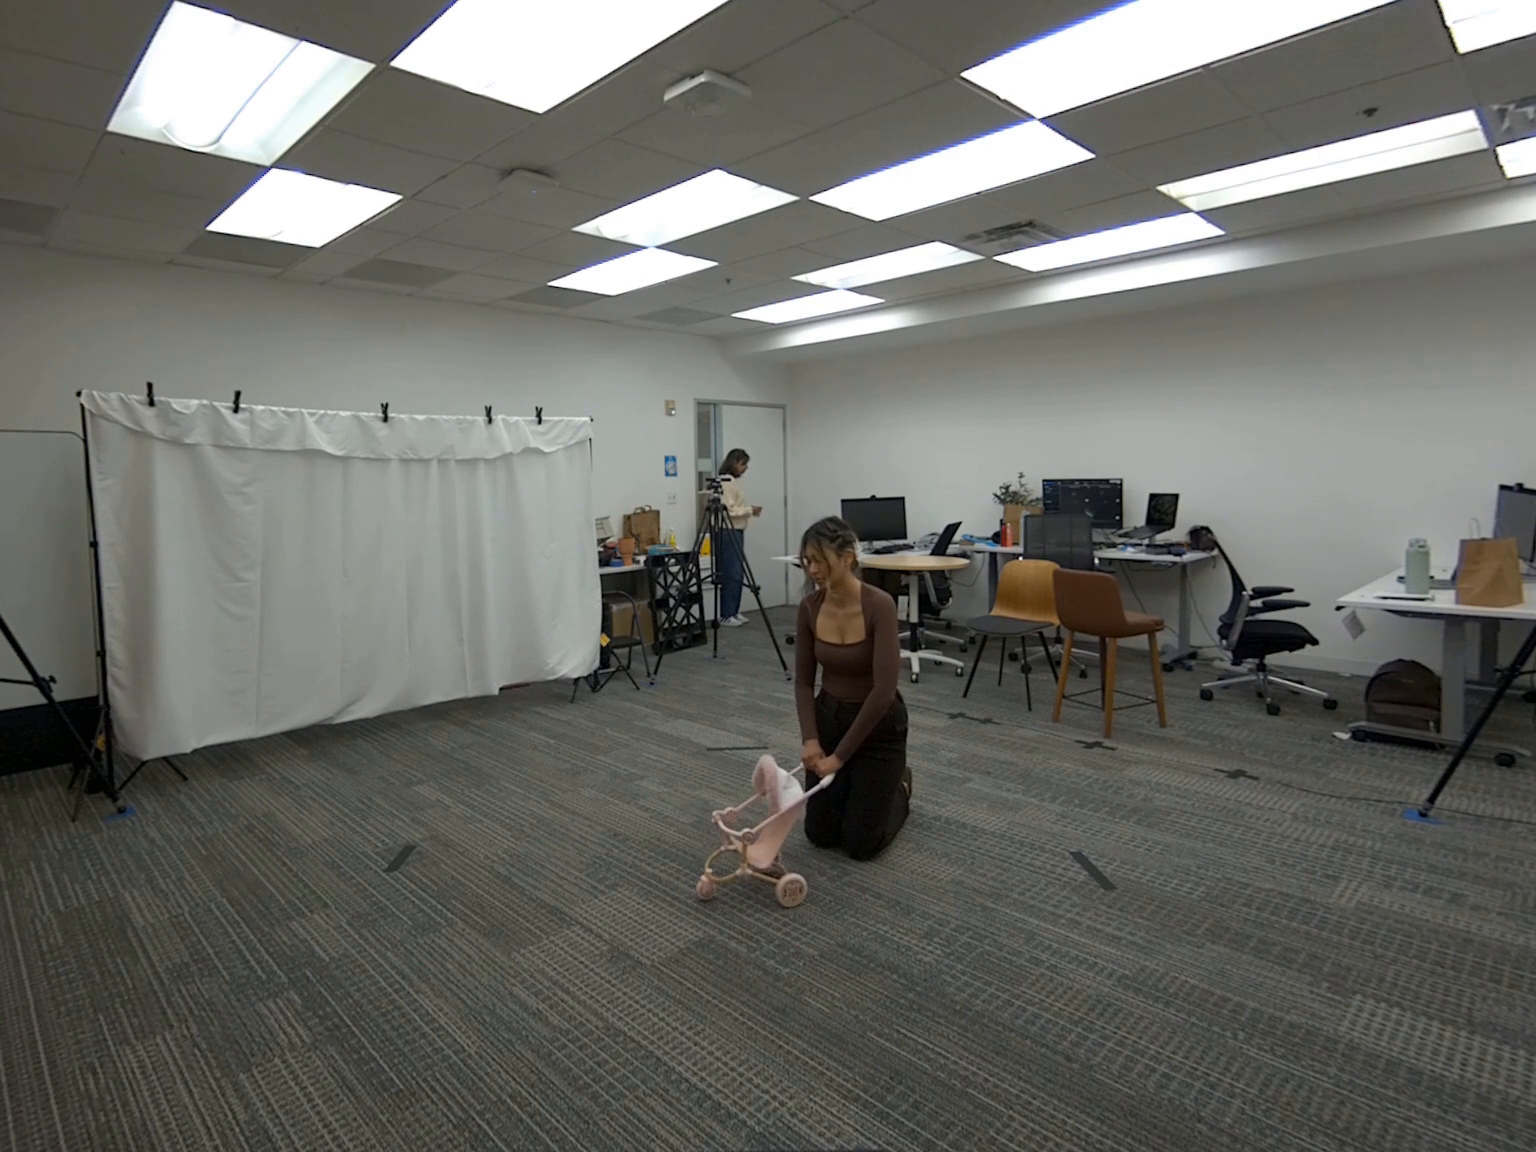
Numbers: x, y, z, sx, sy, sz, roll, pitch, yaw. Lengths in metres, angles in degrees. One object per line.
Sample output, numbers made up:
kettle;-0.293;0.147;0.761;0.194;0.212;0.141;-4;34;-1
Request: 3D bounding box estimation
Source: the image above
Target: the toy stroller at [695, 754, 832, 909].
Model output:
toy stroller;-0.022;0.844;2.876;0.336;0.535;0.286;16;0;-14
